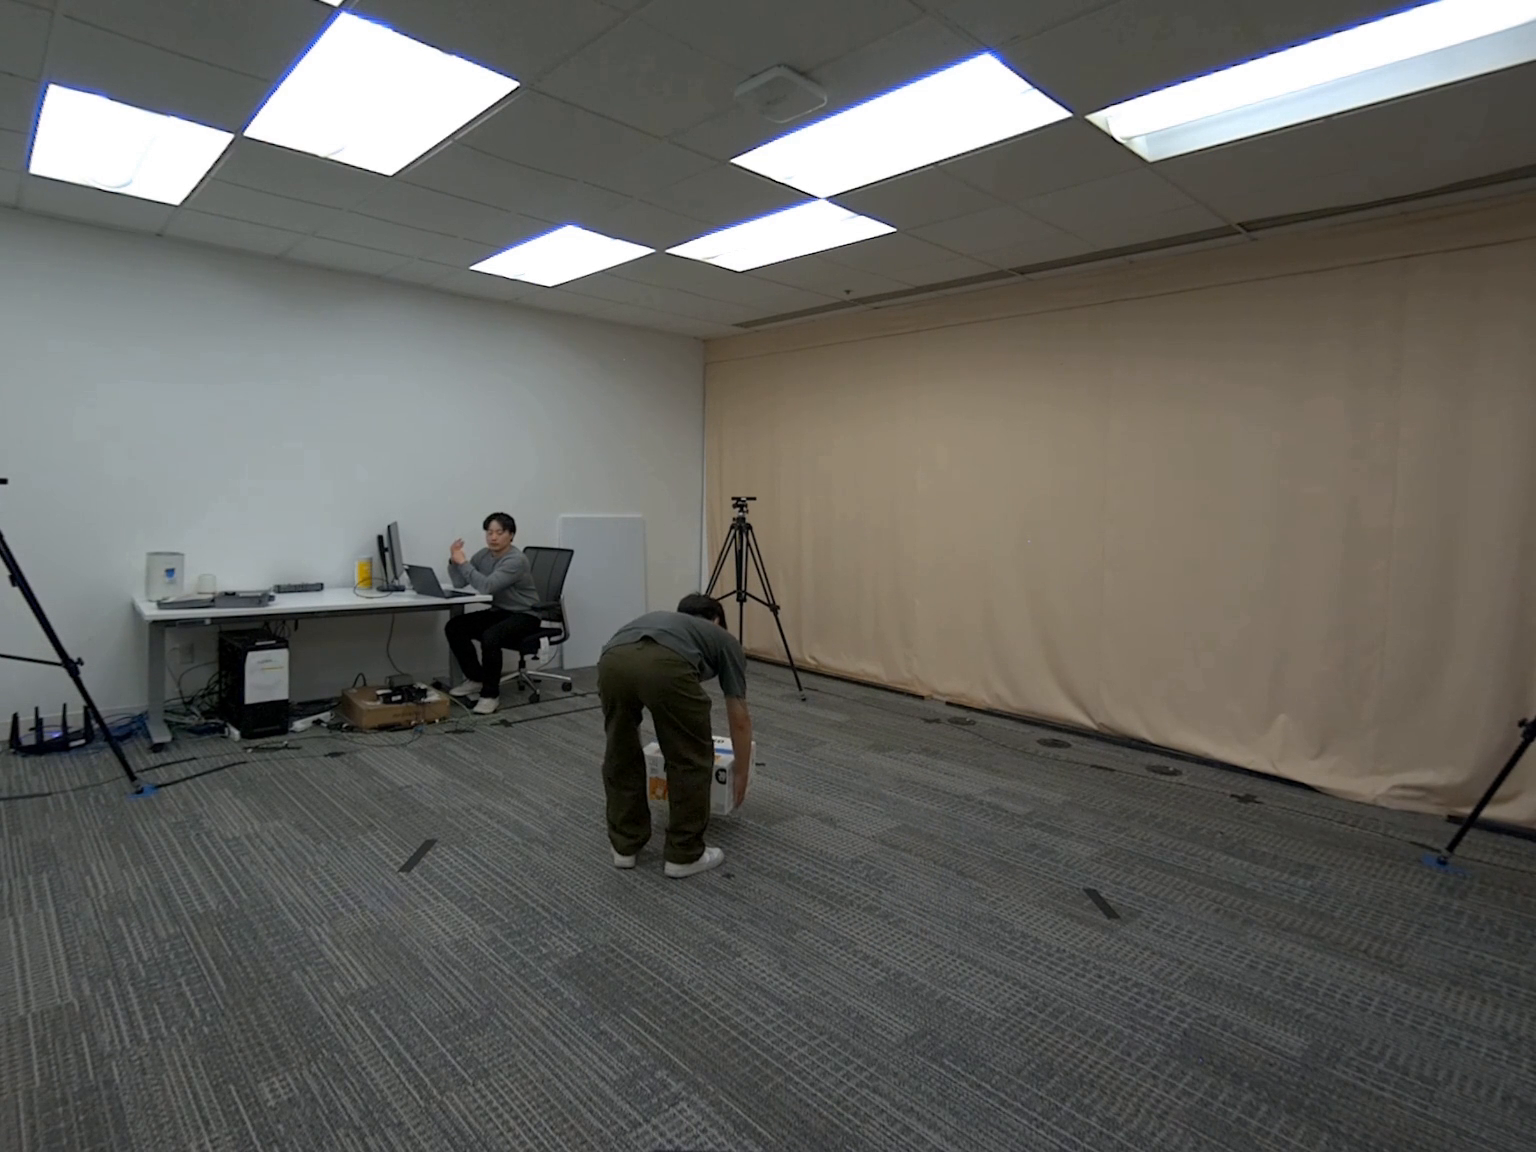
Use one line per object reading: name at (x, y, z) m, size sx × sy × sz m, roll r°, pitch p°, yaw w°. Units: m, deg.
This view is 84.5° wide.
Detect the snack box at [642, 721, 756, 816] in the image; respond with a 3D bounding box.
snack box at (-0.317, 0.823, 3.565) m, size 0.411 × 0.205 × 0.336 m, roll 4°, pitch 7°, yaw 19°
